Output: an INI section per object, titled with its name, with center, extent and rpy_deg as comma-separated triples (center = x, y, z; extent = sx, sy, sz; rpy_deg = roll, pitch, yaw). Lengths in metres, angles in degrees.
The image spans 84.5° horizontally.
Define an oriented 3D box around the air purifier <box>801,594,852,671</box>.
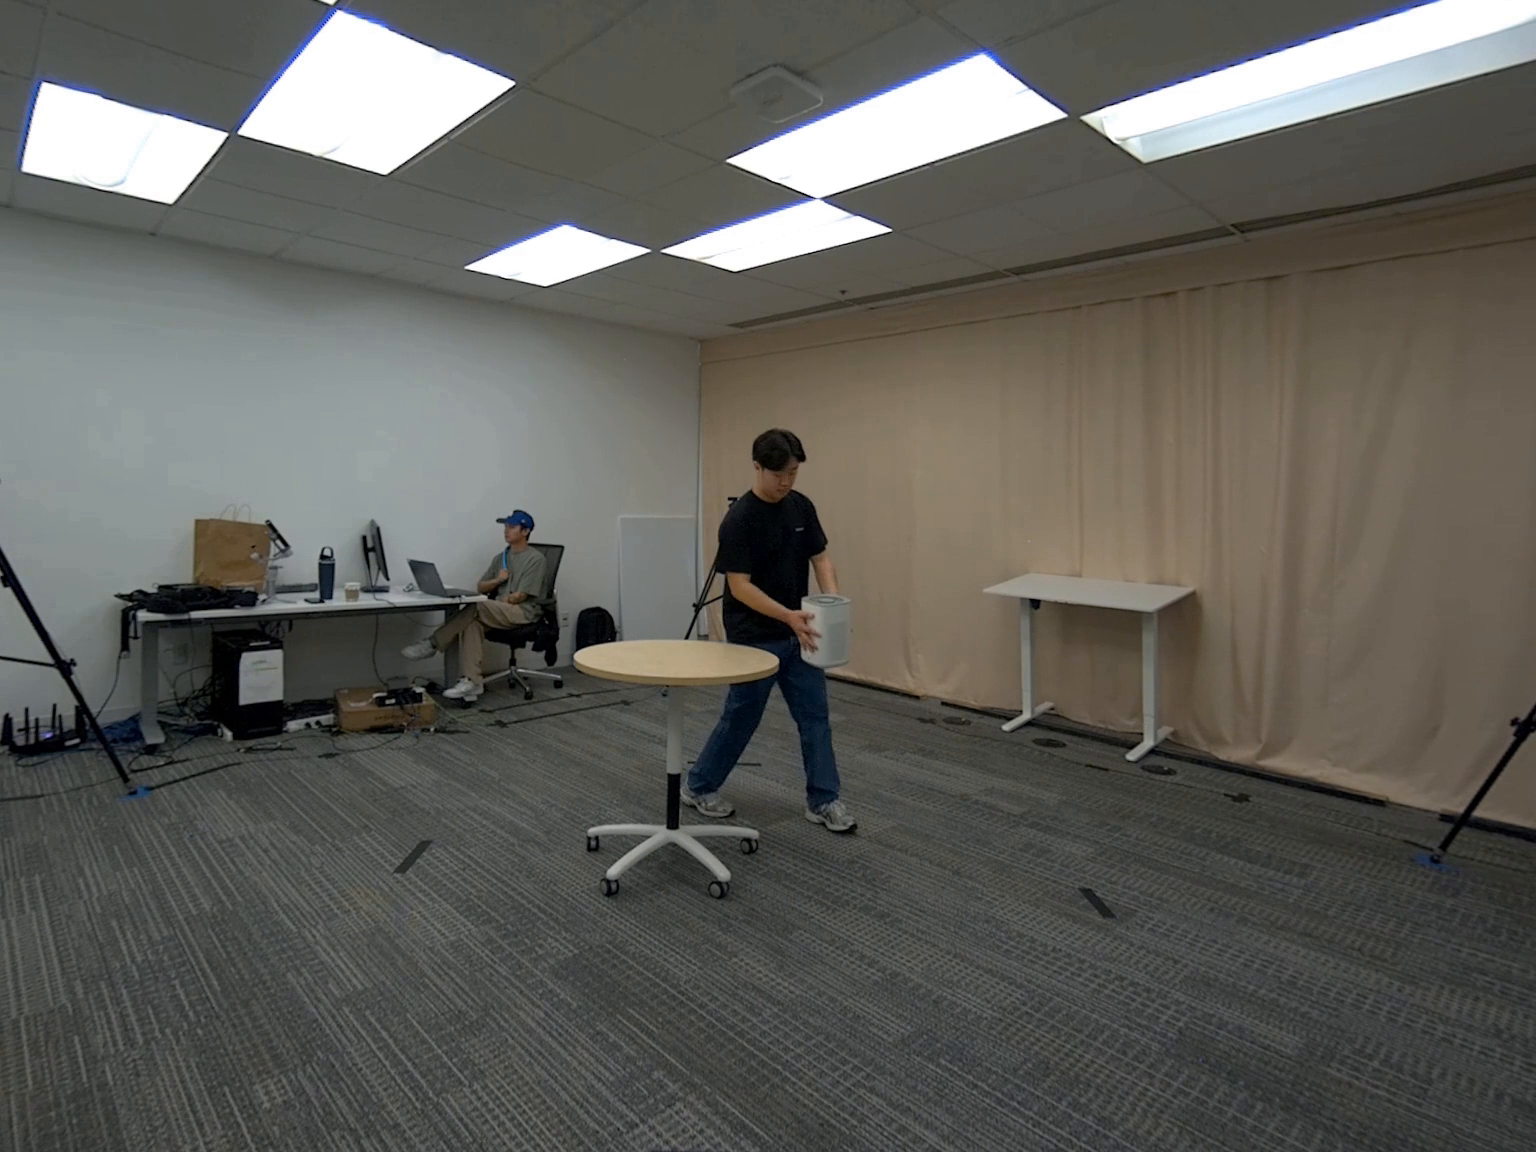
[air purifier]
center = 0.219, 0.223, 3.385
extent = 0.168, 0.263, 0.175
rpy_deg = -6, 12, -31
